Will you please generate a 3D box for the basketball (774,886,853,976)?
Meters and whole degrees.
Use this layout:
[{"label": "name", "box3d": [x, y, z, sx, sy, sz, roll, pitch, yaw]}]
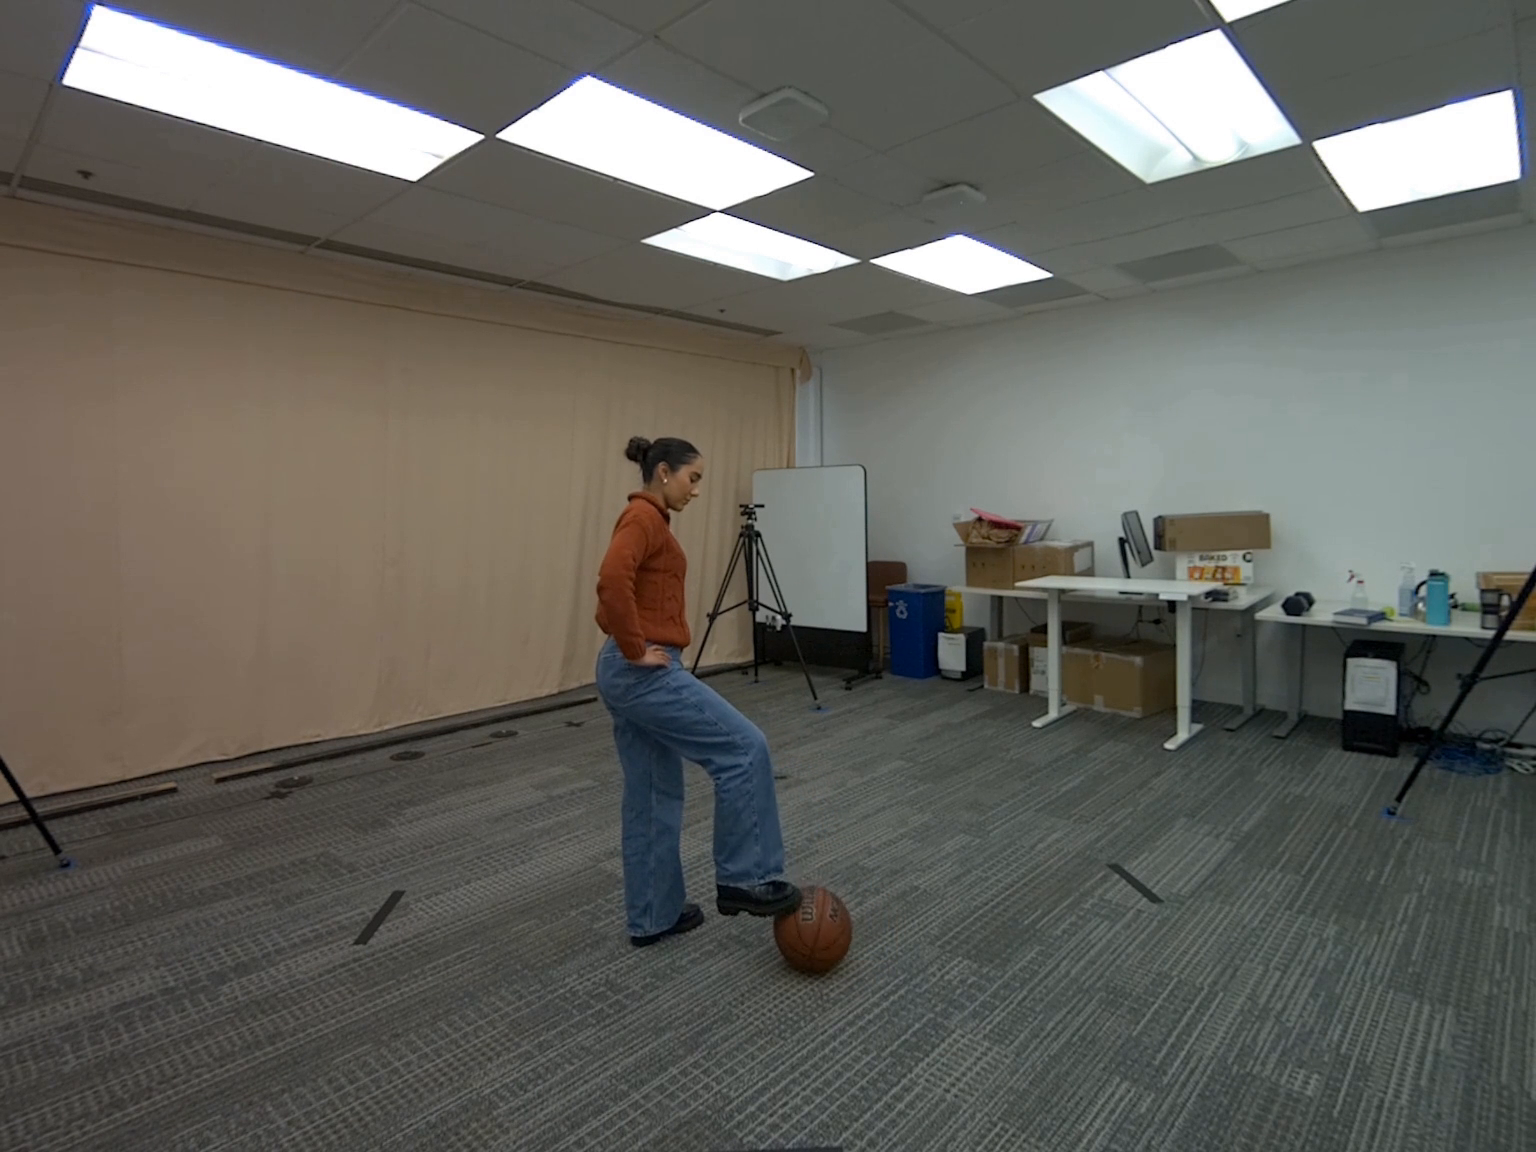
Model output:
[{"label": "basketball", "box3d": [0.147, 1.059, 2.524, 0.236, 0.235, 0.237, -1, 4, -2]}]
